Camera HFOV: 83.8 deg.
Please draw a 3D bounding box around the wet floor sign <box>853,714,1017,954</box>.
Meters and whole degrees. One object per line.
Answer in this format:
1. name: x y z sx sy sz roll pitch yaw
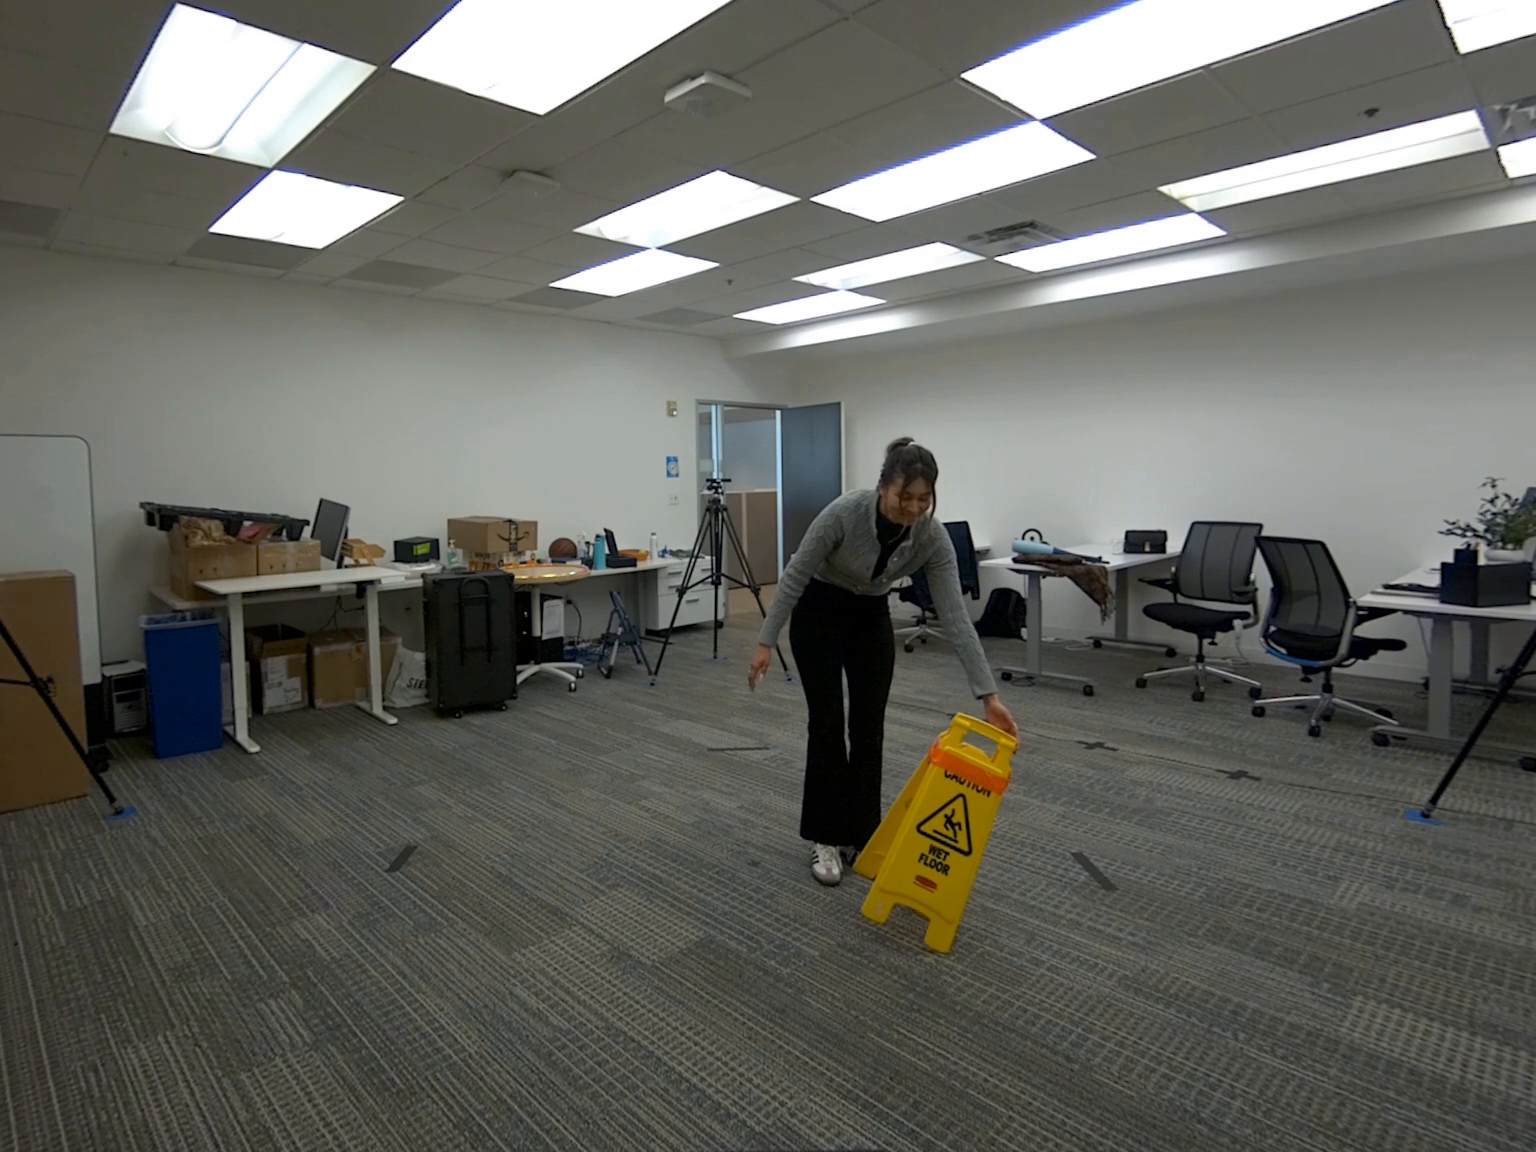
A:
1. wet floor sign: 0.527 0.745 2.620 0.283 0.644 0.290 23 5 0
